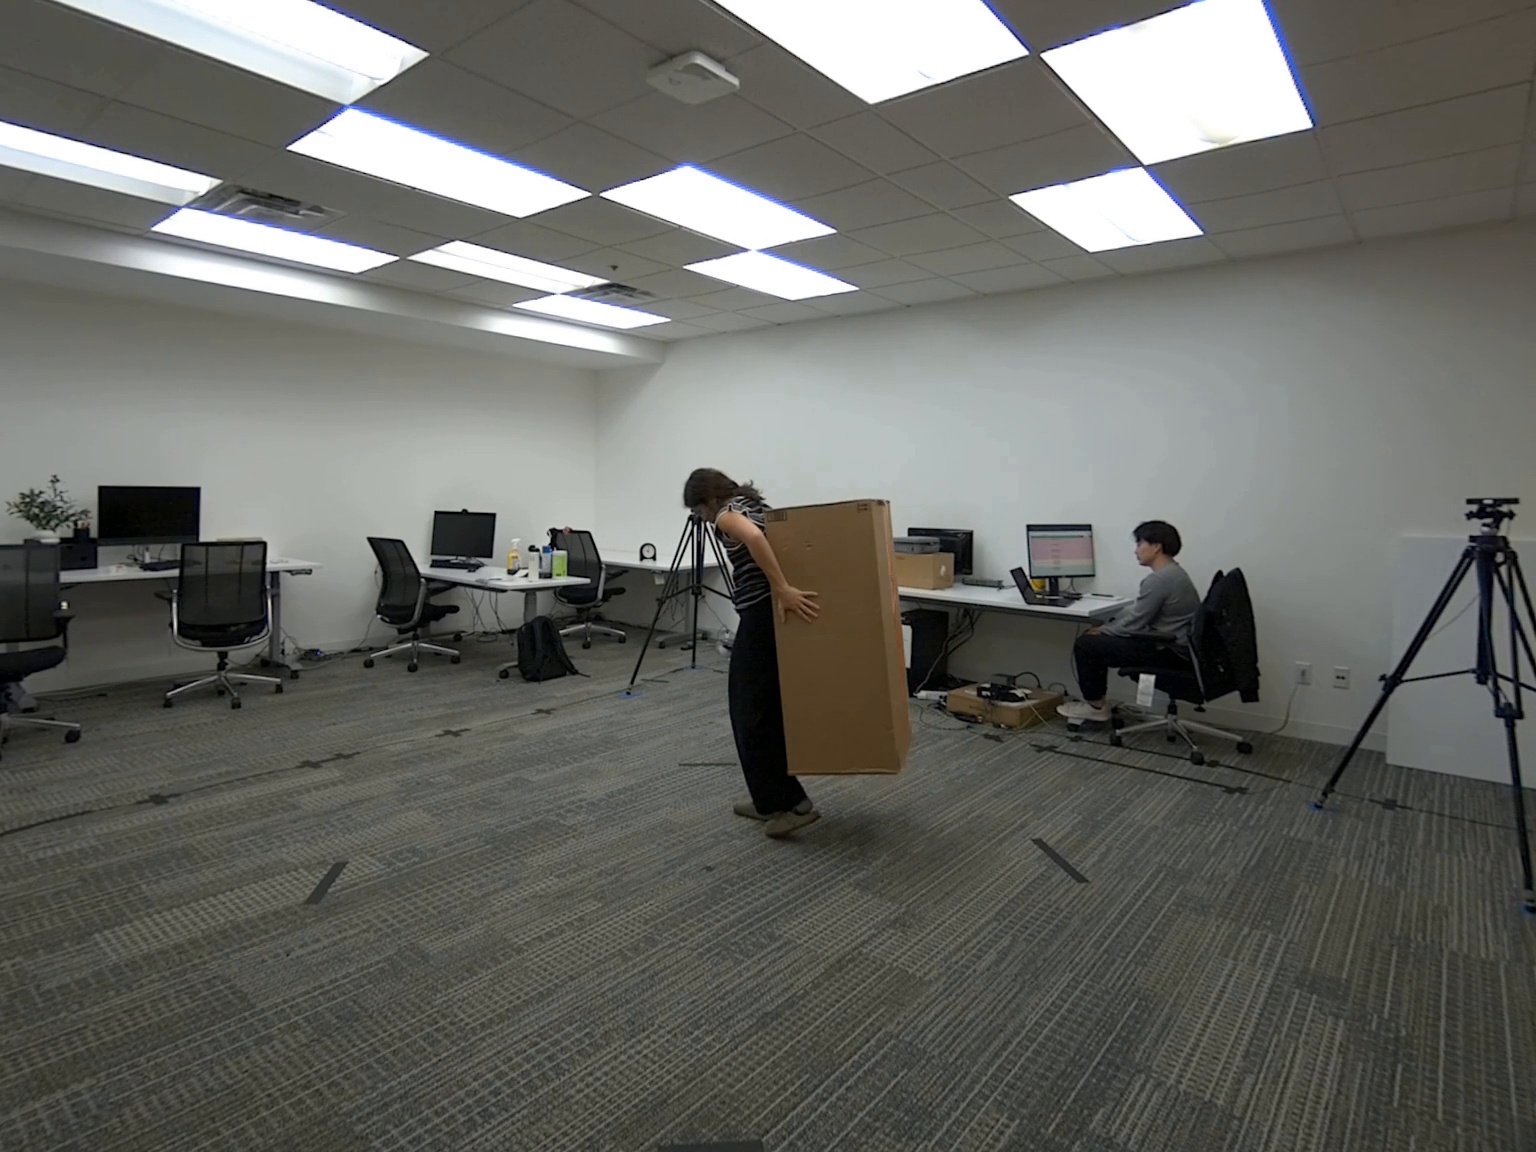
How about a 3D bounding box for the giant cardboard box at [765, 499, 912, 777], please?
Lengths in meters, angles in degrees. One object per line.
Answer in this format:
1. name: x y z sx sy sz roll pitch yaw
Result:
1. giant cardboard box: 0.297 0.217 3.457 0.433 1.026 0.568 -5 0 16
